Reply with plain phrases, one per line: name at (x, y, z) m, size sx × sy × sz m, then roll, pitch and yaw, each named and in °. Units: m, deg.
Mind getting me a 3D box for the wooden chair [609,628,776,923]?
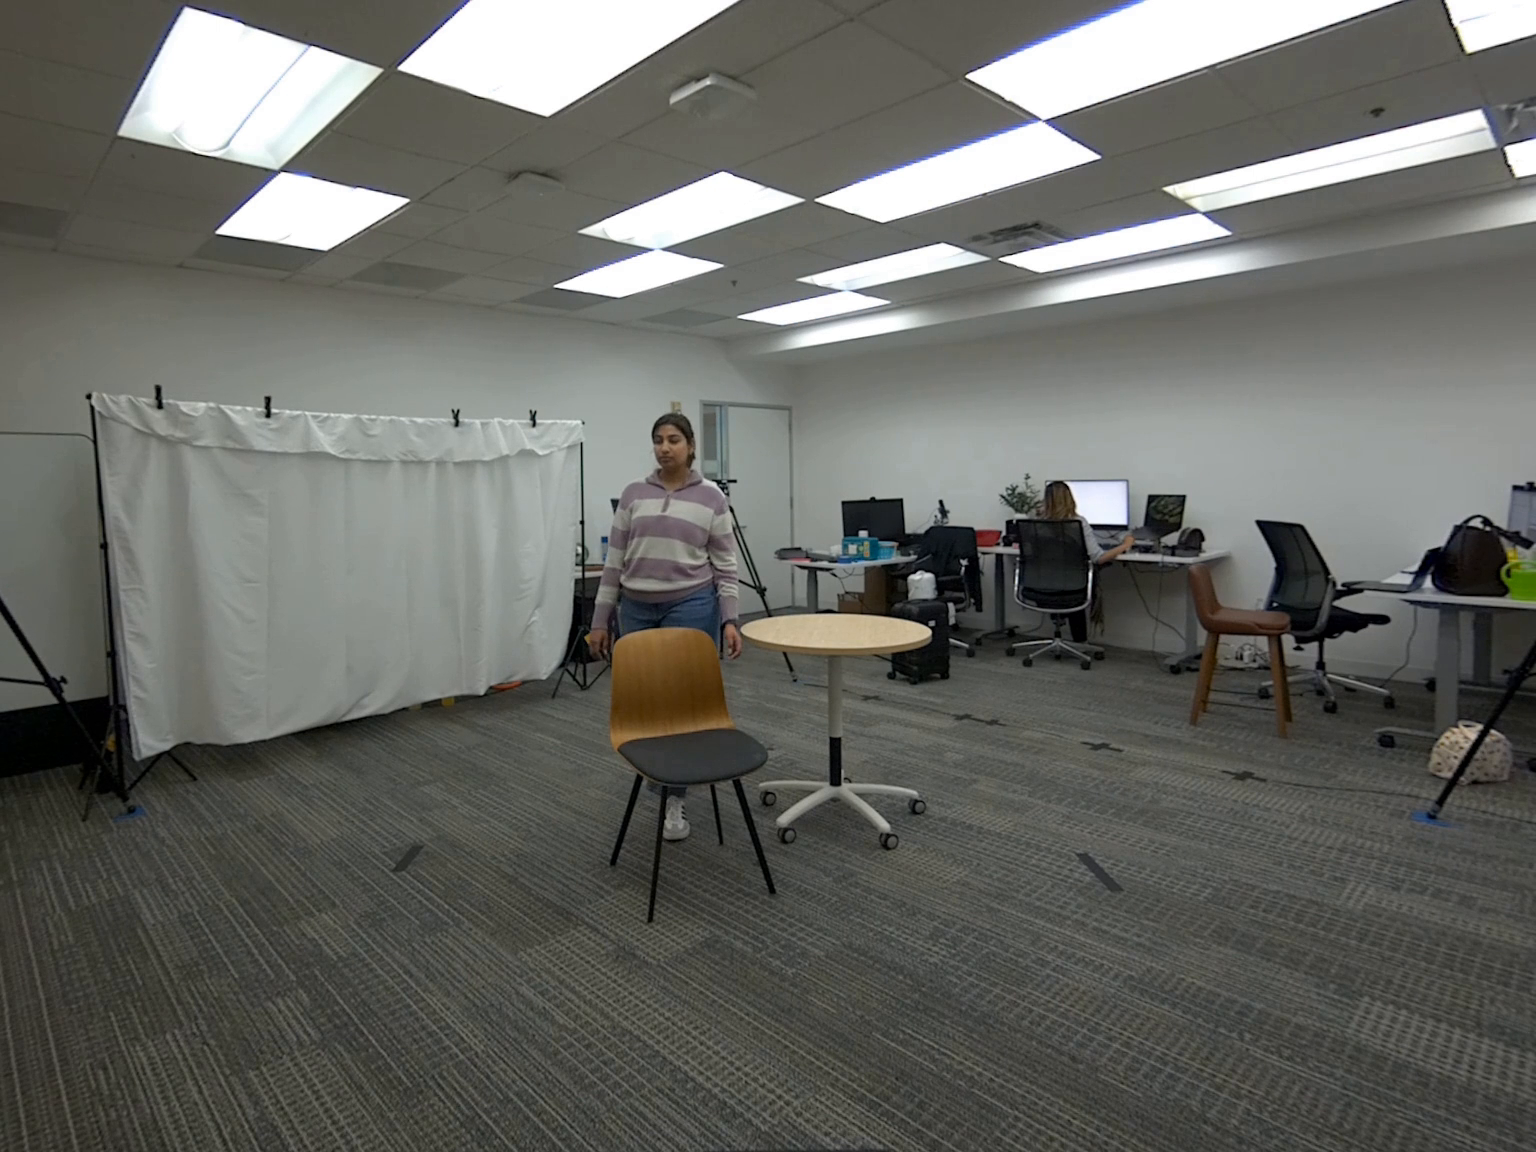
wooden chair at (-0.278, 0.642, 2.955) m, size 0.468 × 0.877 × 0.534 m, roll -3°, pitch 0°, yaw -25°
